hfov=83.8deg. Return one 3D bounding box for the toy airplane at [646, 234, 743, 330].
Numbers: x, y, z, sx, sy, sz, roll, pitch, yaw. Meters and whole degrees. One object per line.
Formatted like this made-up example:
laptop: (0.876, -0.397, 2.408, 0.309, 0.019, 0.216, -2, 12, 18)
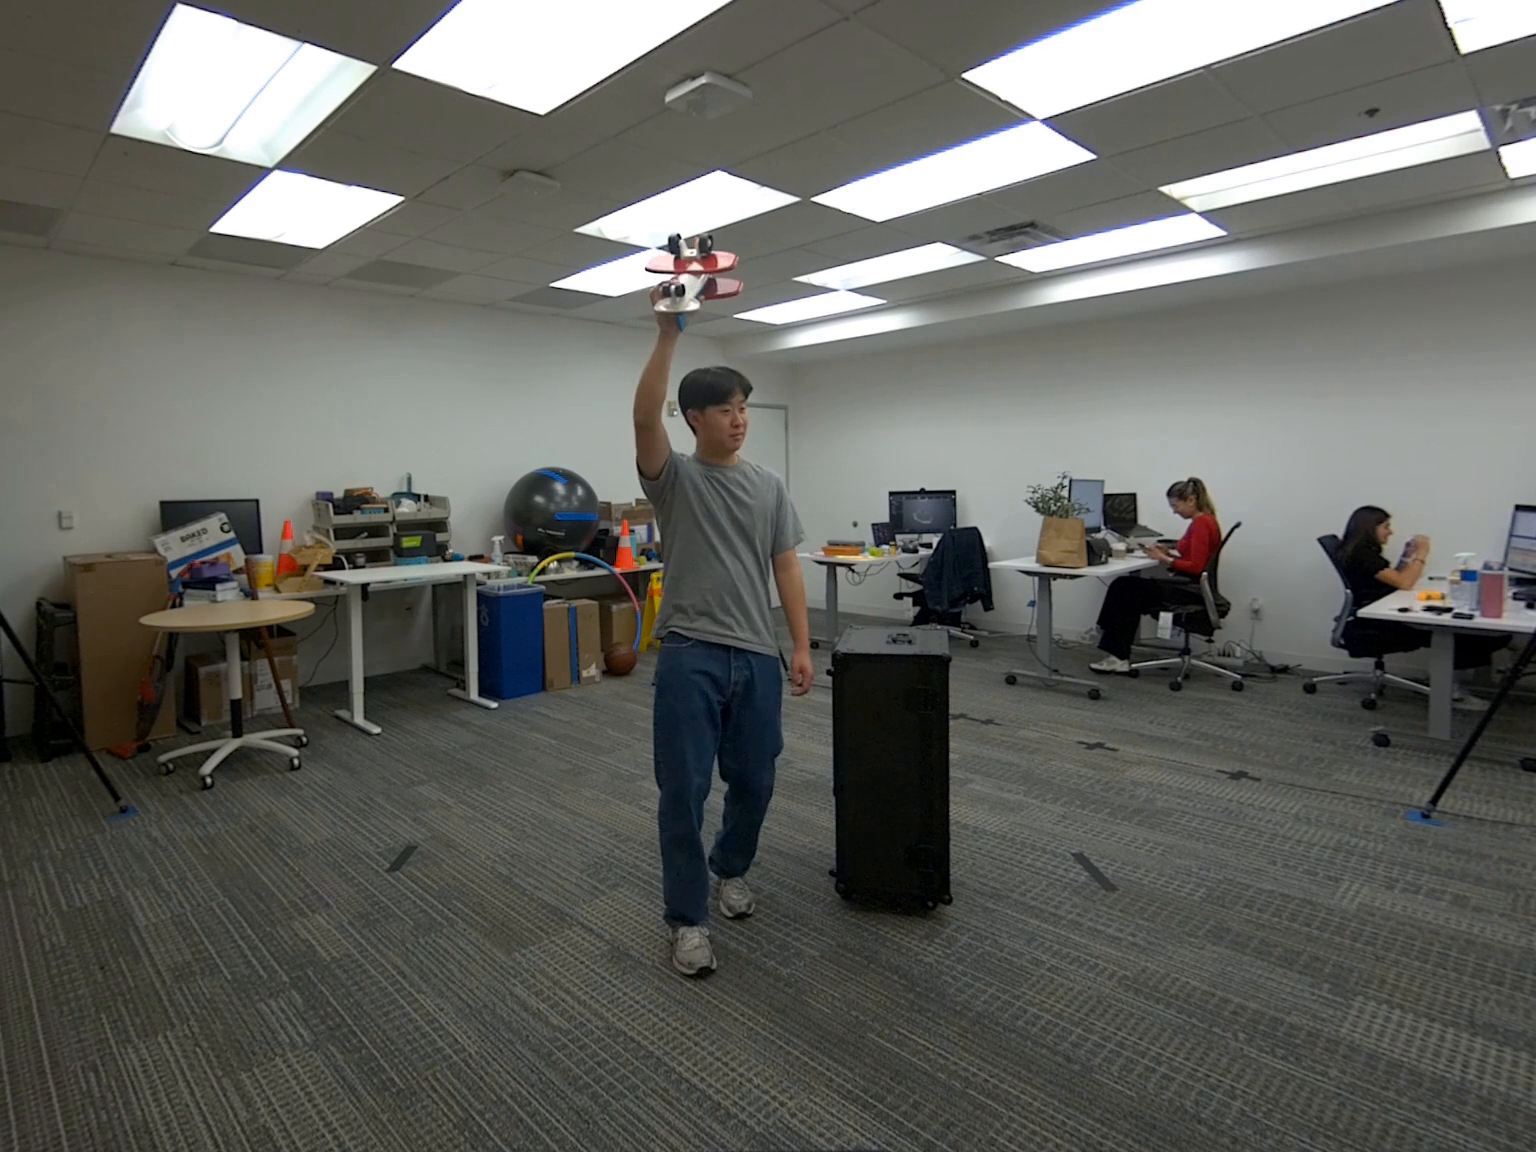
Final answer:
toy airplane: (-0.216, -0.786, 2.263, 0.259, 0.259, 0.151, 31, -17, 27)
